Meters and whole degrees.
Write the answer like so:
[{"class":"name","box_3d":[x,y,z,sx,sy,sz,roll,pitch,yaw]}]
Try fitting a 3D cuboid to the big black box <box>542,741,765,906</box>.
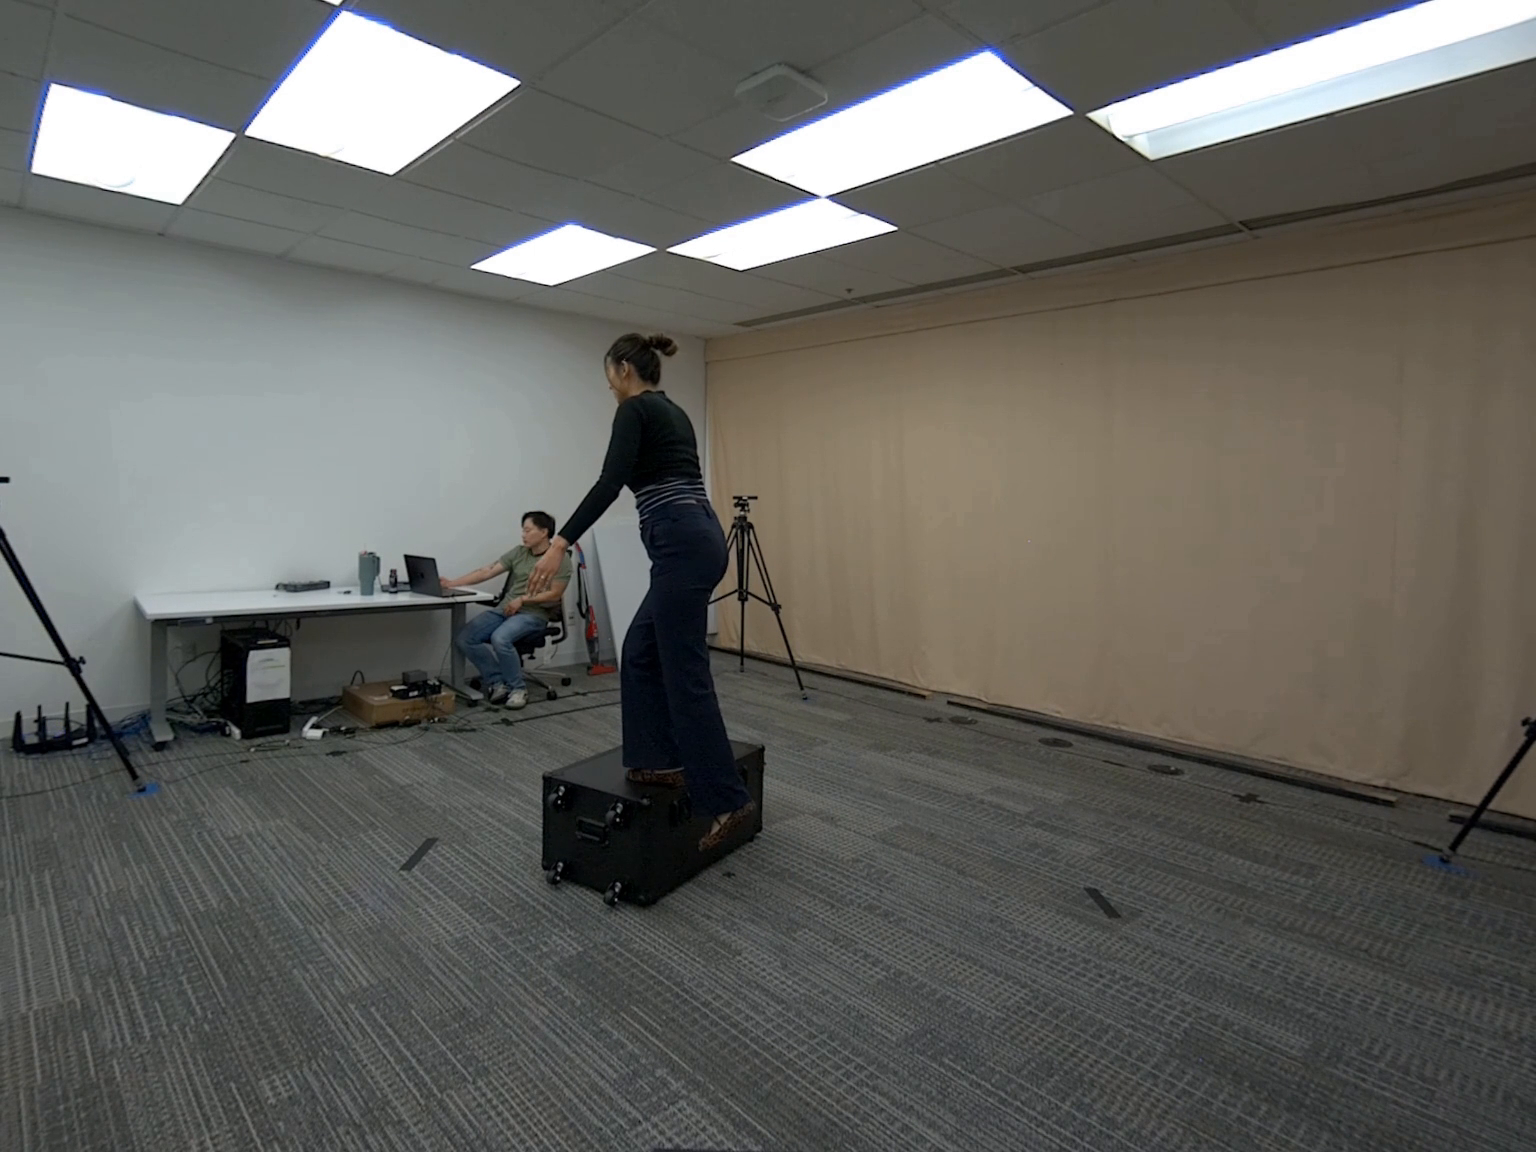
[{"class":"big black box","box_3d":[-0.445,0.897,3.231,0.533,0.395,0.845,5,6,30]}]
